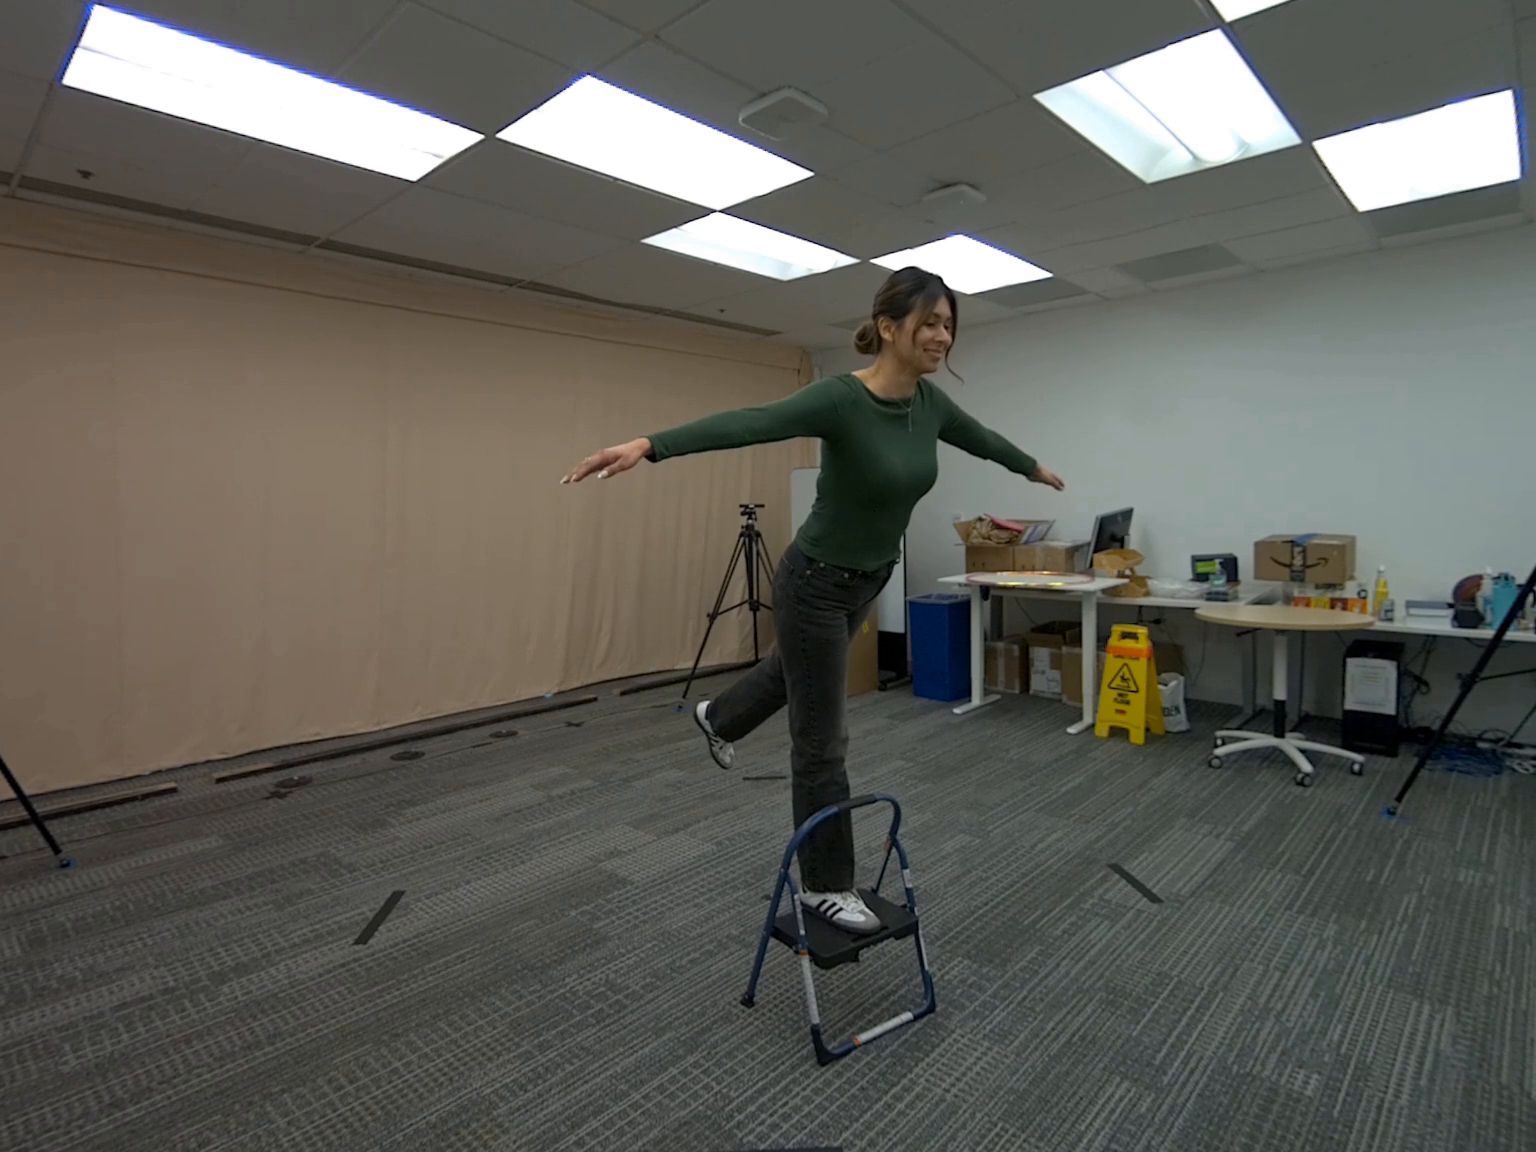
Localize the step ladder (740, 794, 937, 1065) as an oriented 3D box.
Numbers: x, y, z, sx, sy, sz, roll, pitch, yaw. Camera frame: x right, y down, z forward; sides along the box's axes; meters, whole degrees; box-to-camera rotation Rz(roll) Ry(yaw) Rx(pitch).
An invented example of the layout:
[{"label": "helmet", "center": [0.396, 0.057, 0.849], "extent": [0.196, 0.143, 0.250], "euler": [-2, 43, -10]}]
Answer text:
[{"label": "step ladder", "center": [0.197, 0.893, 2.316], "extent": [0.418, 0.604, 0.360], "euler": [-4, 5, -36]}]
